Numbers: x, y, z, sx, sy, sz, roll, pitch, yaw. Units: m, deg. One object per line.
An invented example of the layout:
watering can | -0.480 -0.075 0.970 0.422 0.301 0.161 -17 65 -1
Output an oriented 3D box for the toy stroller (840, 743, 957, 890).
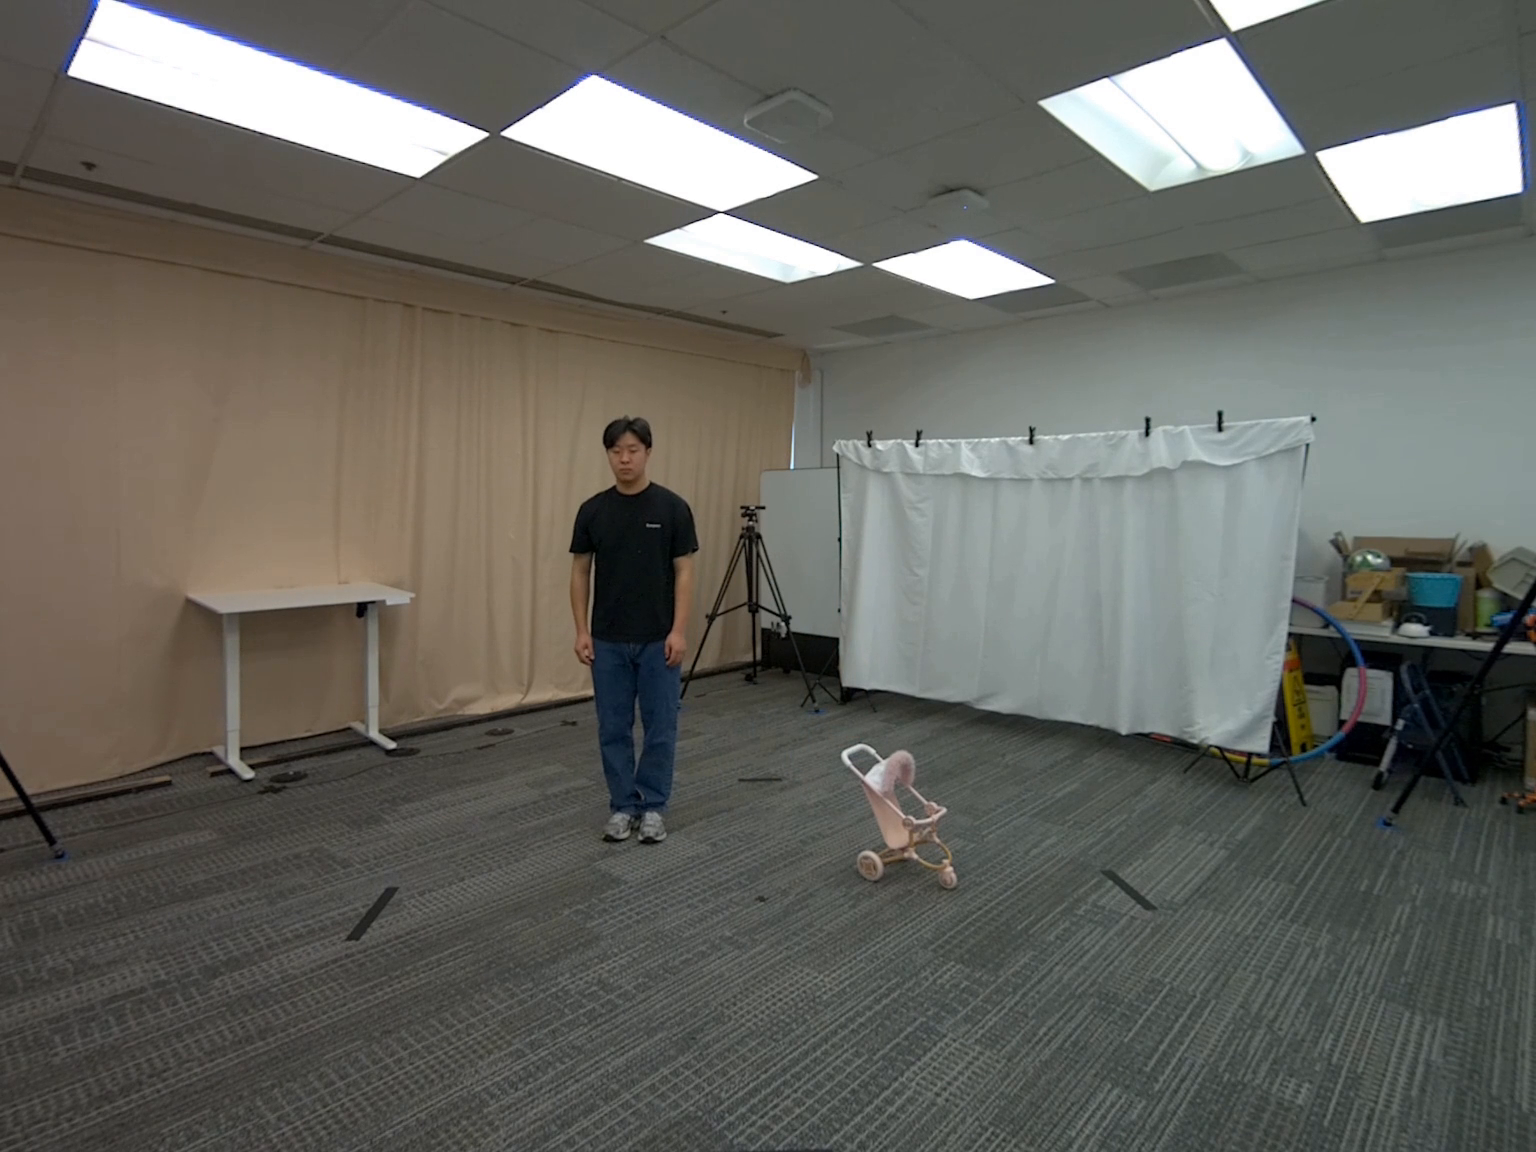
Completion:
toy stroller | 0.509 0.900 3.167 0.350 0.538 0.273 -17 -9 42
